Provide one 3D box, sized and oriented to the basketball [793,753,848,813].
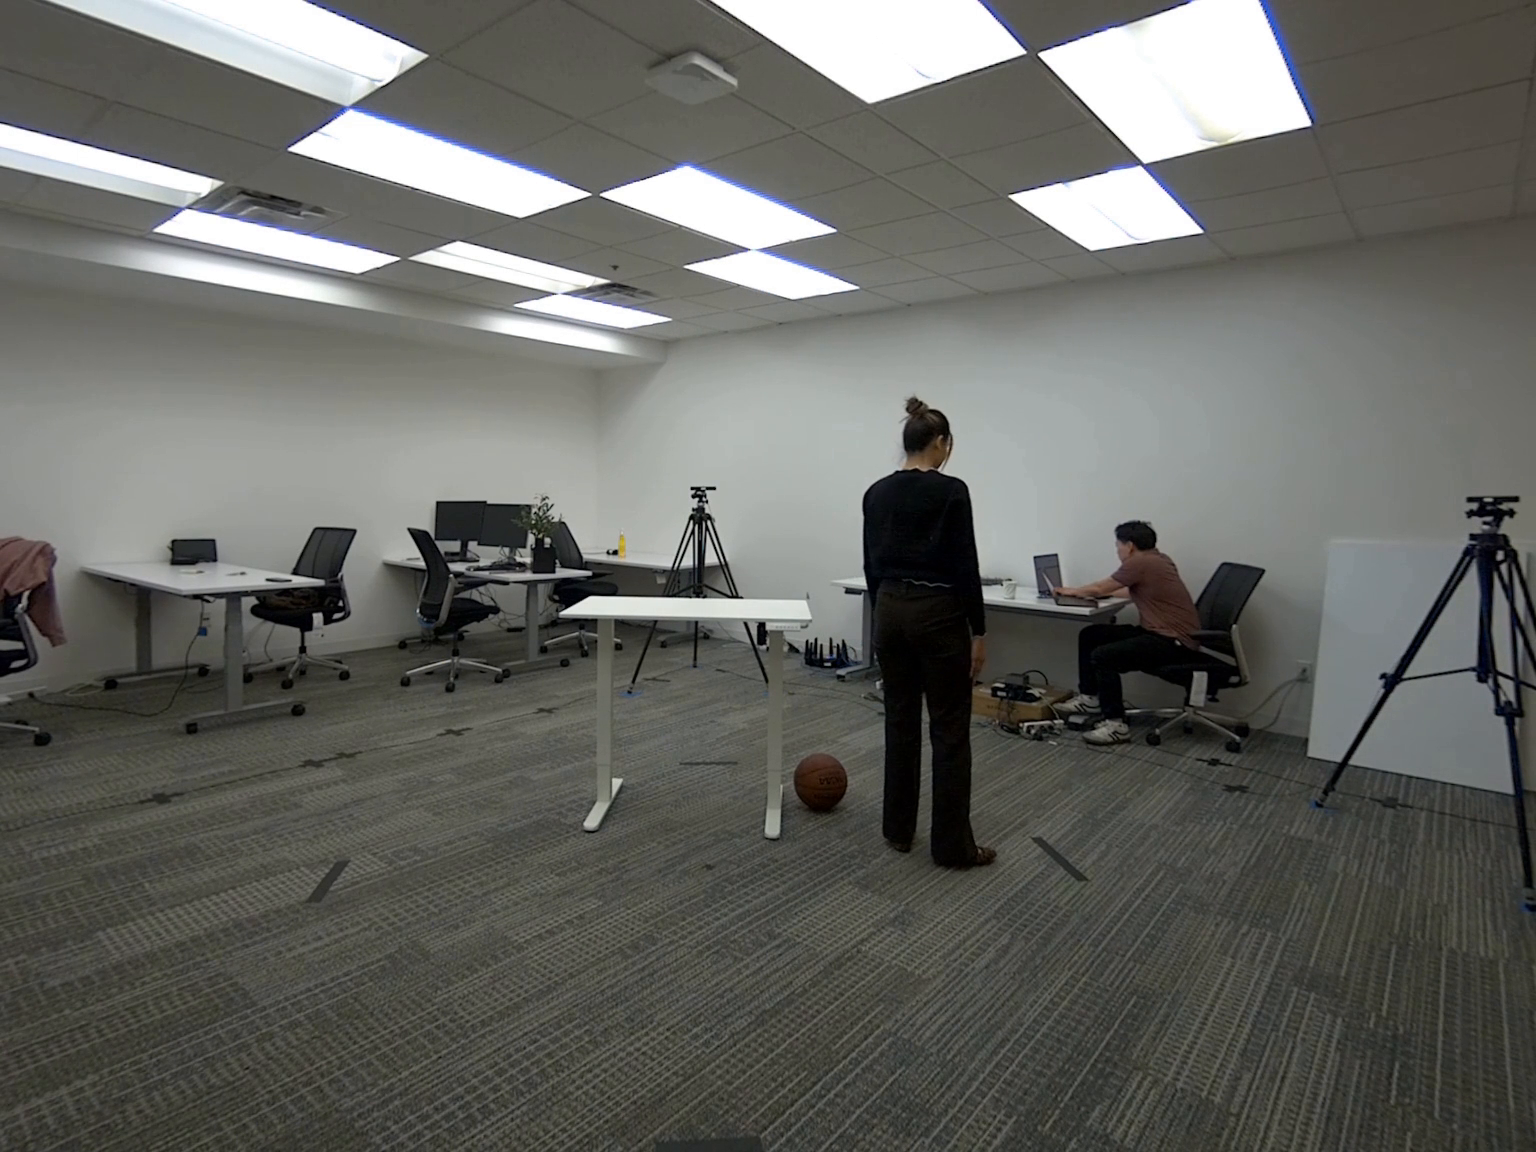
[{"bbox_3d":[0.226,0.896,3.726,0.235,0.235,0.237,1,4,-2],"label":"basketball"}]
